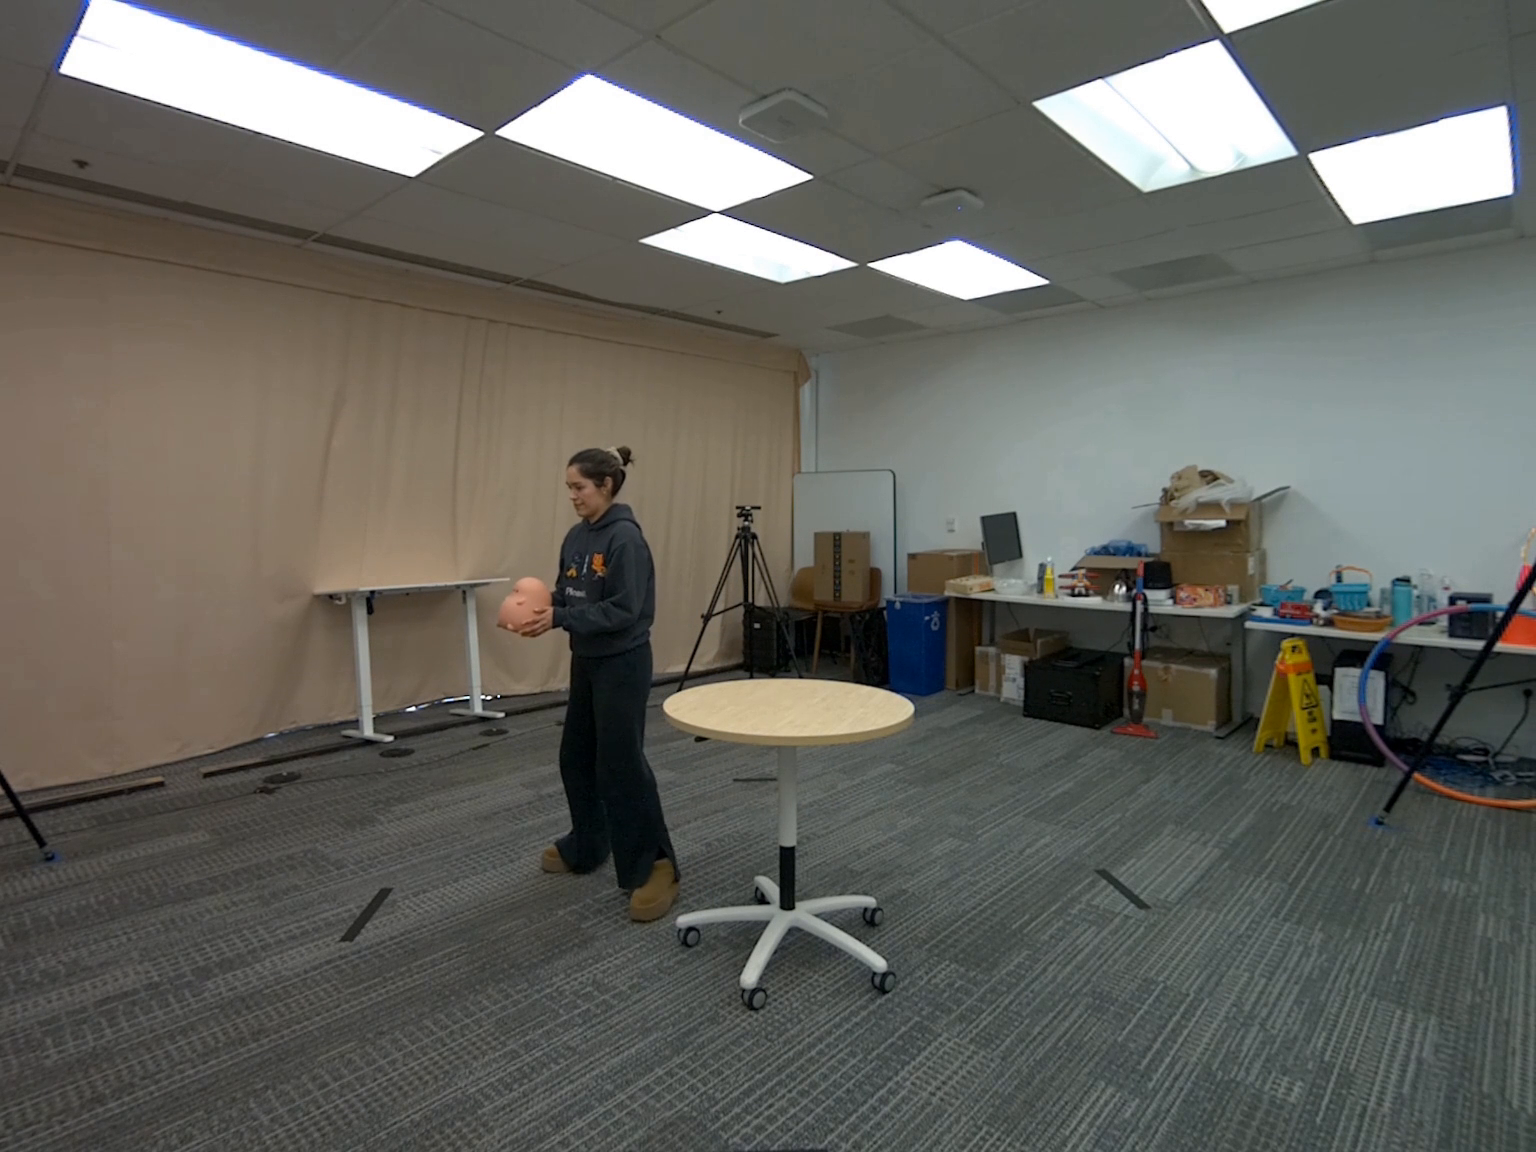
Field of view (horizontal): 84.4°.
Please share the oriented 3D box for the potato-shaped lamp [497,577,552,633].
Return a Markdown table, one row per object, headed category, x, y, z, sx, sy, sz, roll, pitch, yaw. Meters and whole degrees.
| category | x | y | z | sx | sy | sz | roll | pitch | yaw |
| --- | --- | --- | --- | --- | --- | --- | --- | --- | --- |
| potato-shaped lamp | -0.823 | 0.109 | 2.934 | 0.166 | 0.198 | 0.170 | 15 | -7 | -35 |
